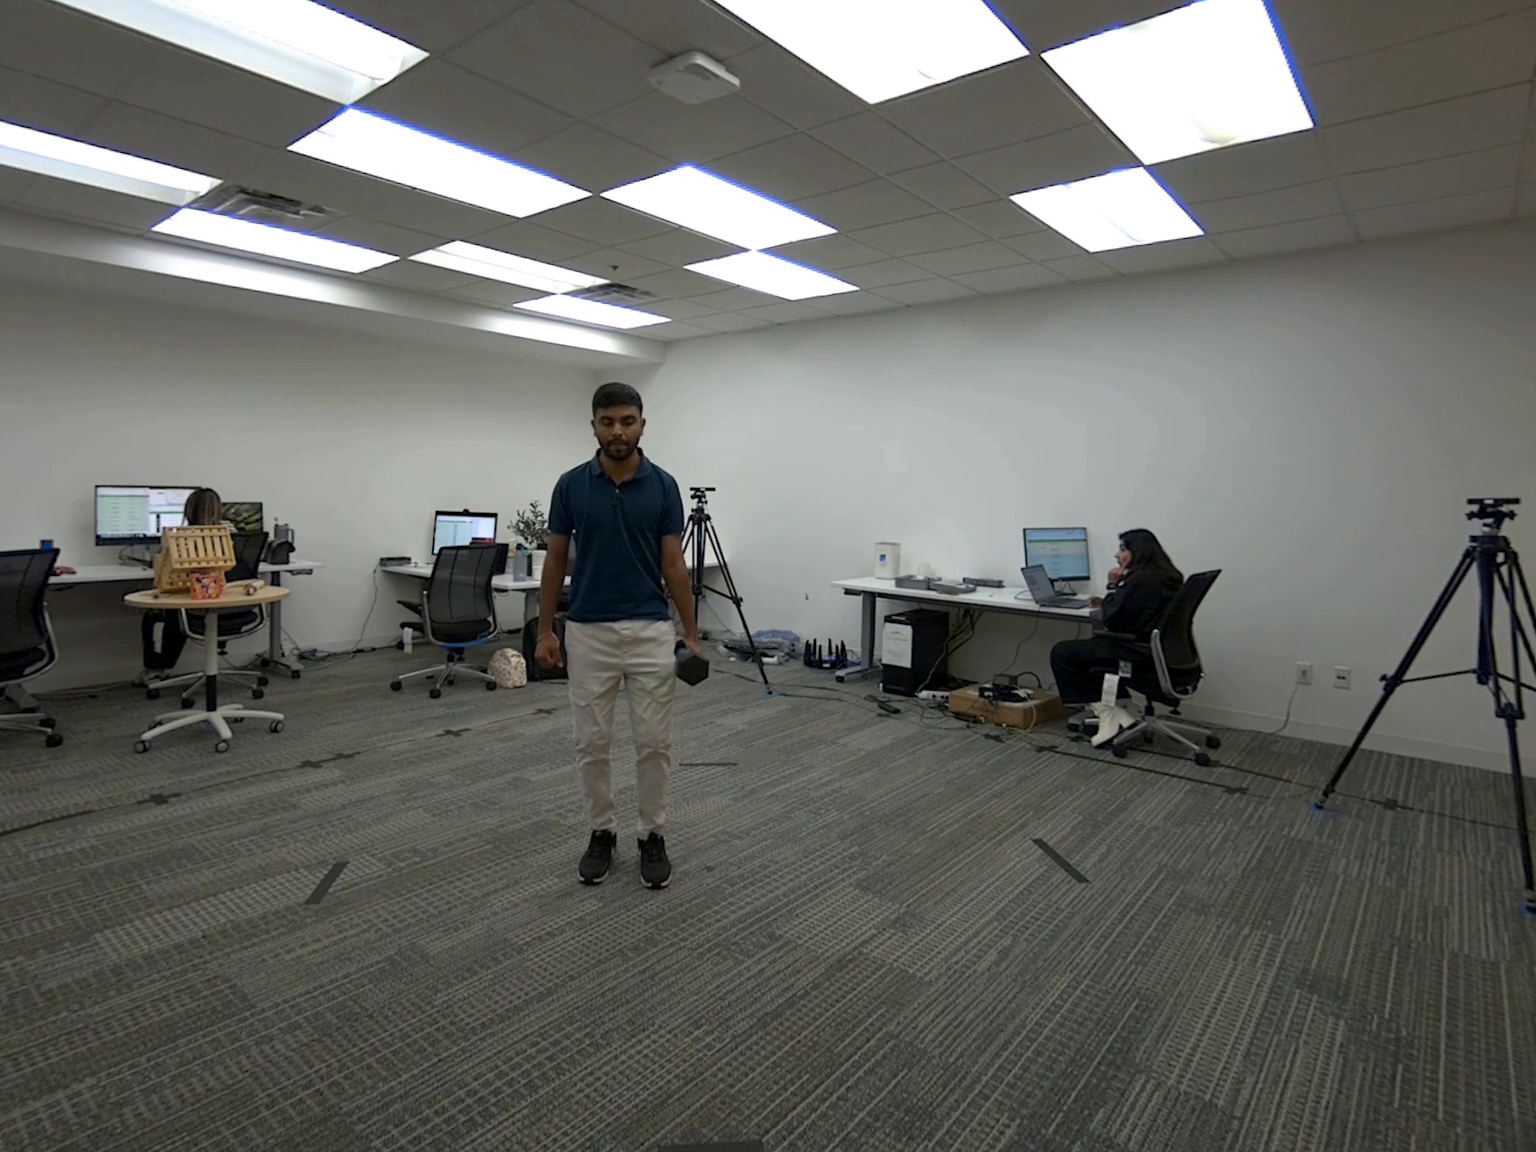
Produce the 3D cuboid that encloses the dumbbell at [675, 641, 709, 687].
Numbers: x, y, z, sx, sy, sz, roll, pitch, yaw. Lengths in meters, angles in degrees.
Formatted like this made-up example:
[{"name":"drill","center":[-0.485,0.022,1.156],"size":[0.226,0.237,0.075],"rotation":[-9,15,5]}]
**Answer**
[{"name":"dumbbell","center":[-0.310,0.307,3.011],"size":[0.107,0.122,0.300],"rotation":[1,7,-17]}]
